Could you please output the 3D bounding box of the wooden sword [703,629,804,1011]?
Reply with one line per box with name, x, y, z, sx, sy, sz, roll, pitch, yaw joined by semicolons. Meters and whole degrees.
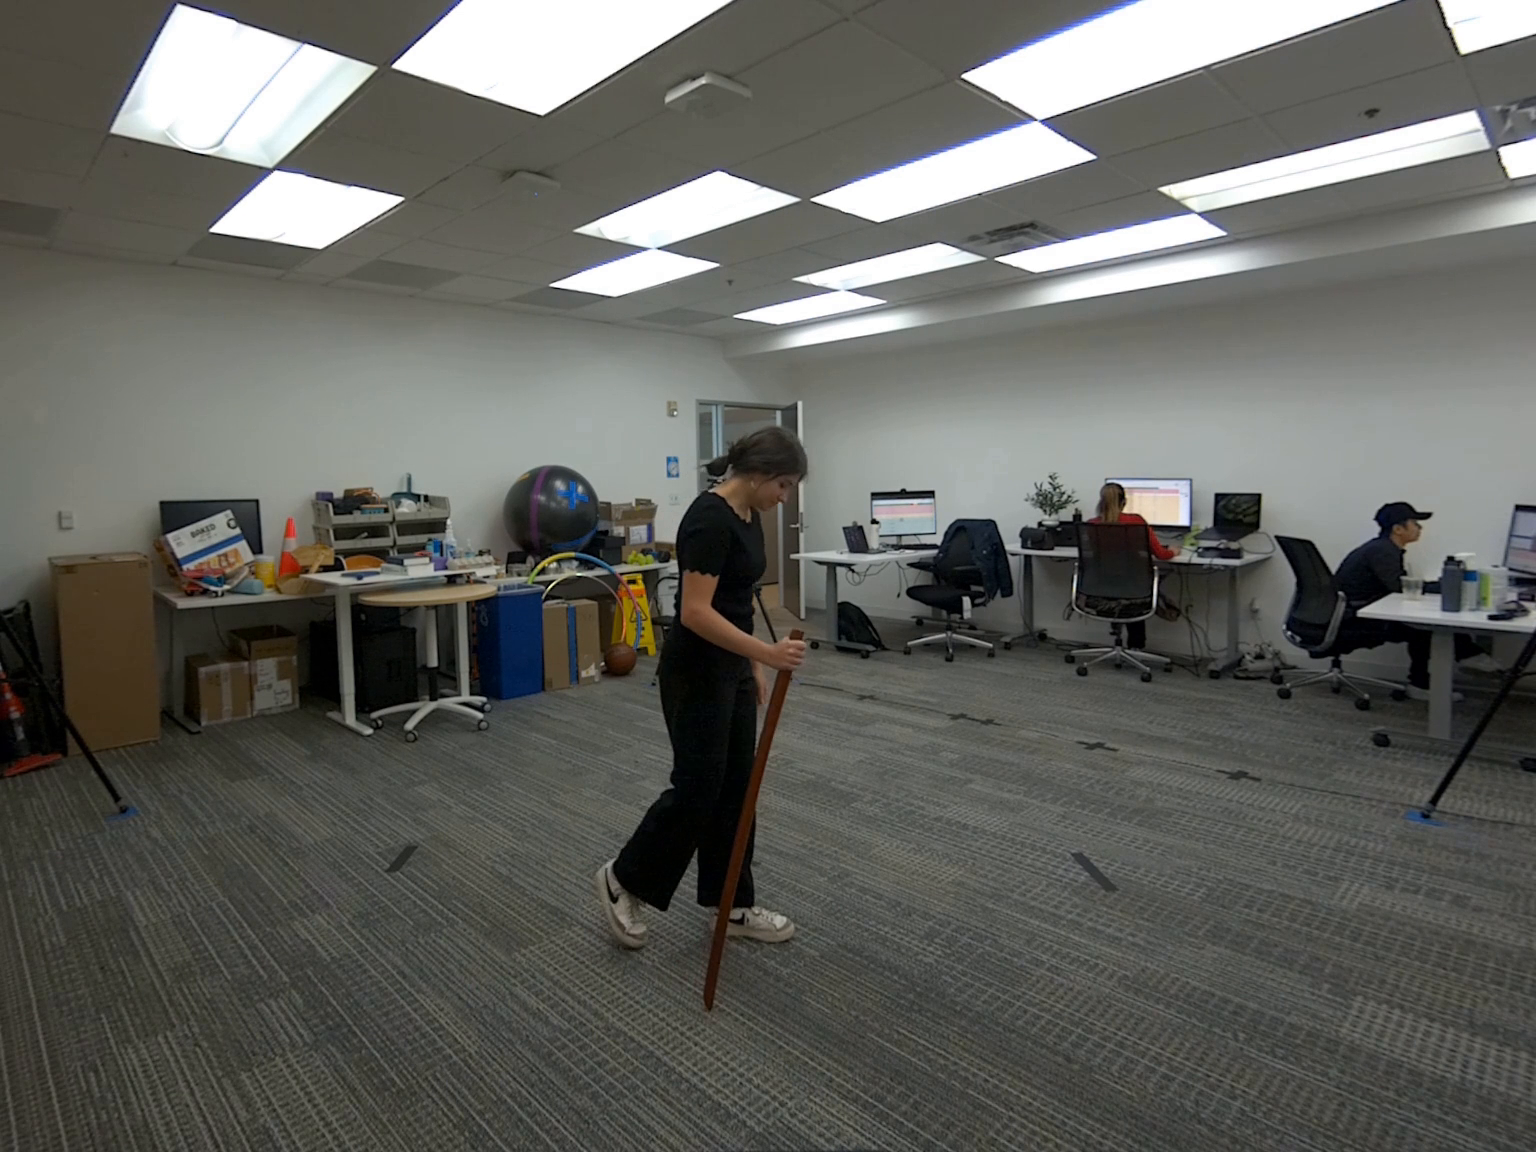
wooden sword;-0.057;0.670;2.287;0.025;1.027;0.049;11;-4;34
